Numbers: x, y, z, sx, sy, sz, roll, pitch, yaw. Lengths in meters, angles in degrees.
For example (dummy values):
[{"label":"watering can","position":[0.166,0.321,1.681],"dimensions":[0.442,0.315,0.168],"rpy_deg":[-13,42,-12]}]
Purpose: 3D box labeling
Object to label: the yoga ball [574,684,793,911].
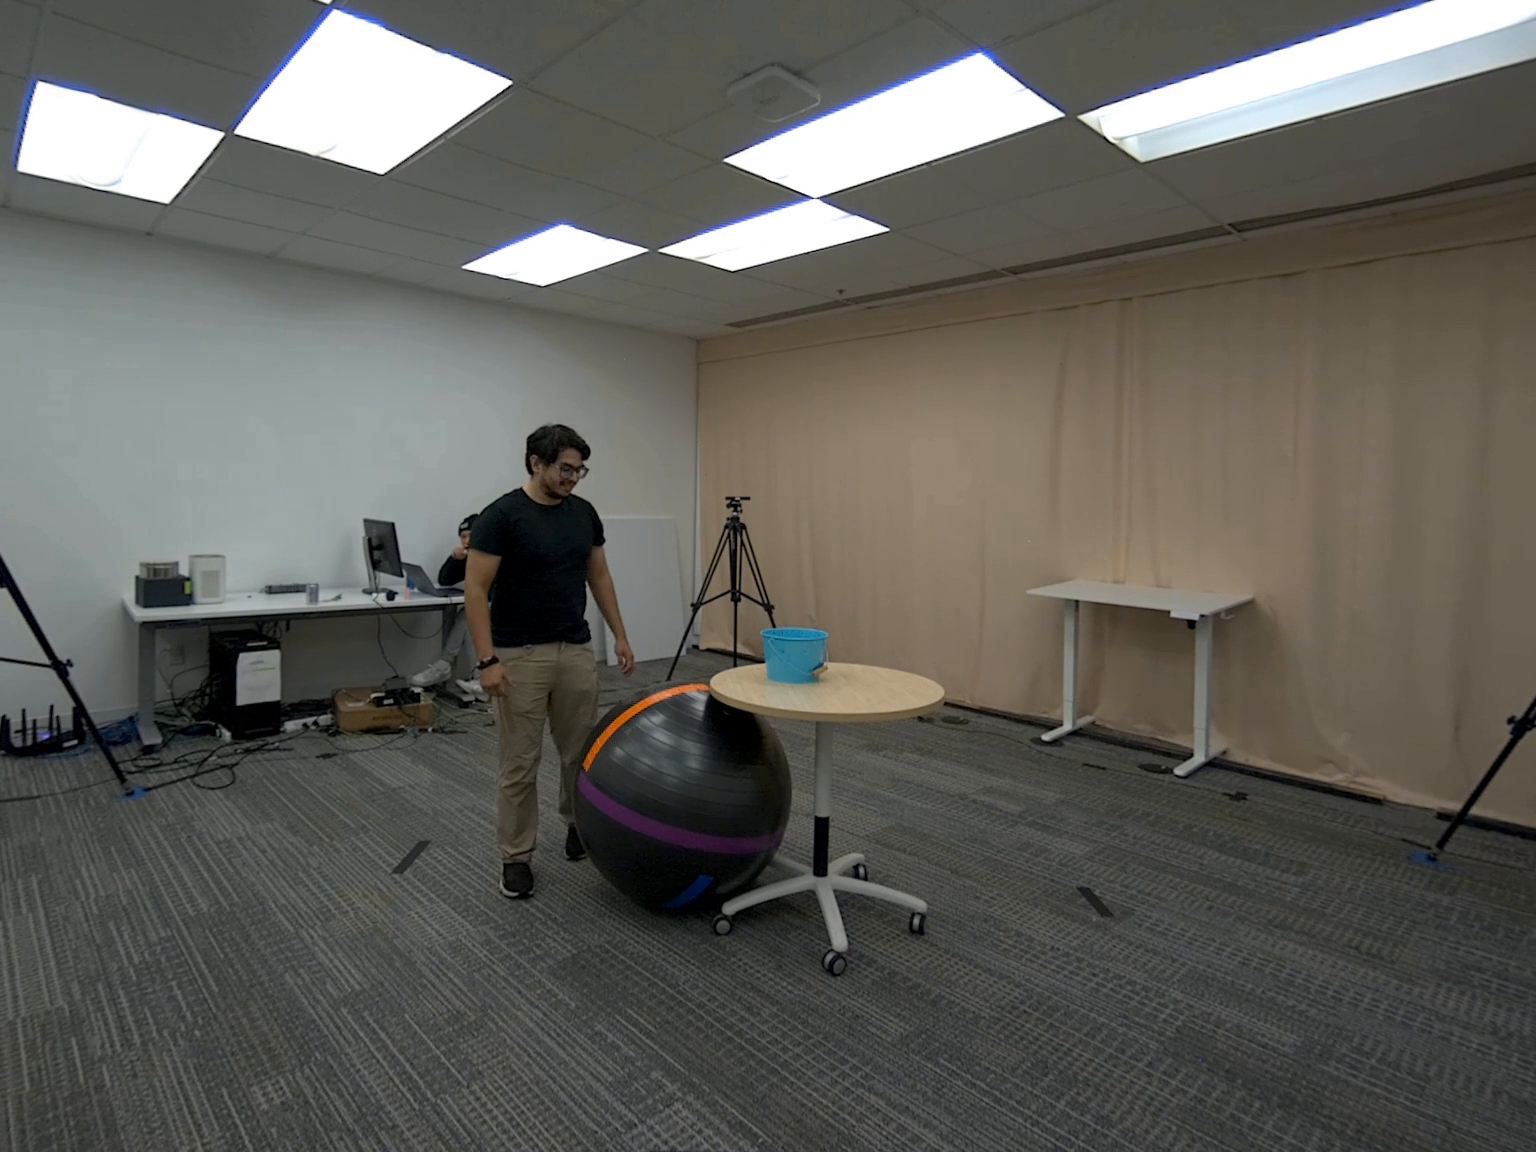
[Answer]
[{"label":"yoga ball","position":[-0.307,0.749,2.936],"dimensions":[0.757,0.756,0.761],"rpy_deg":[1,4,-1]}]
